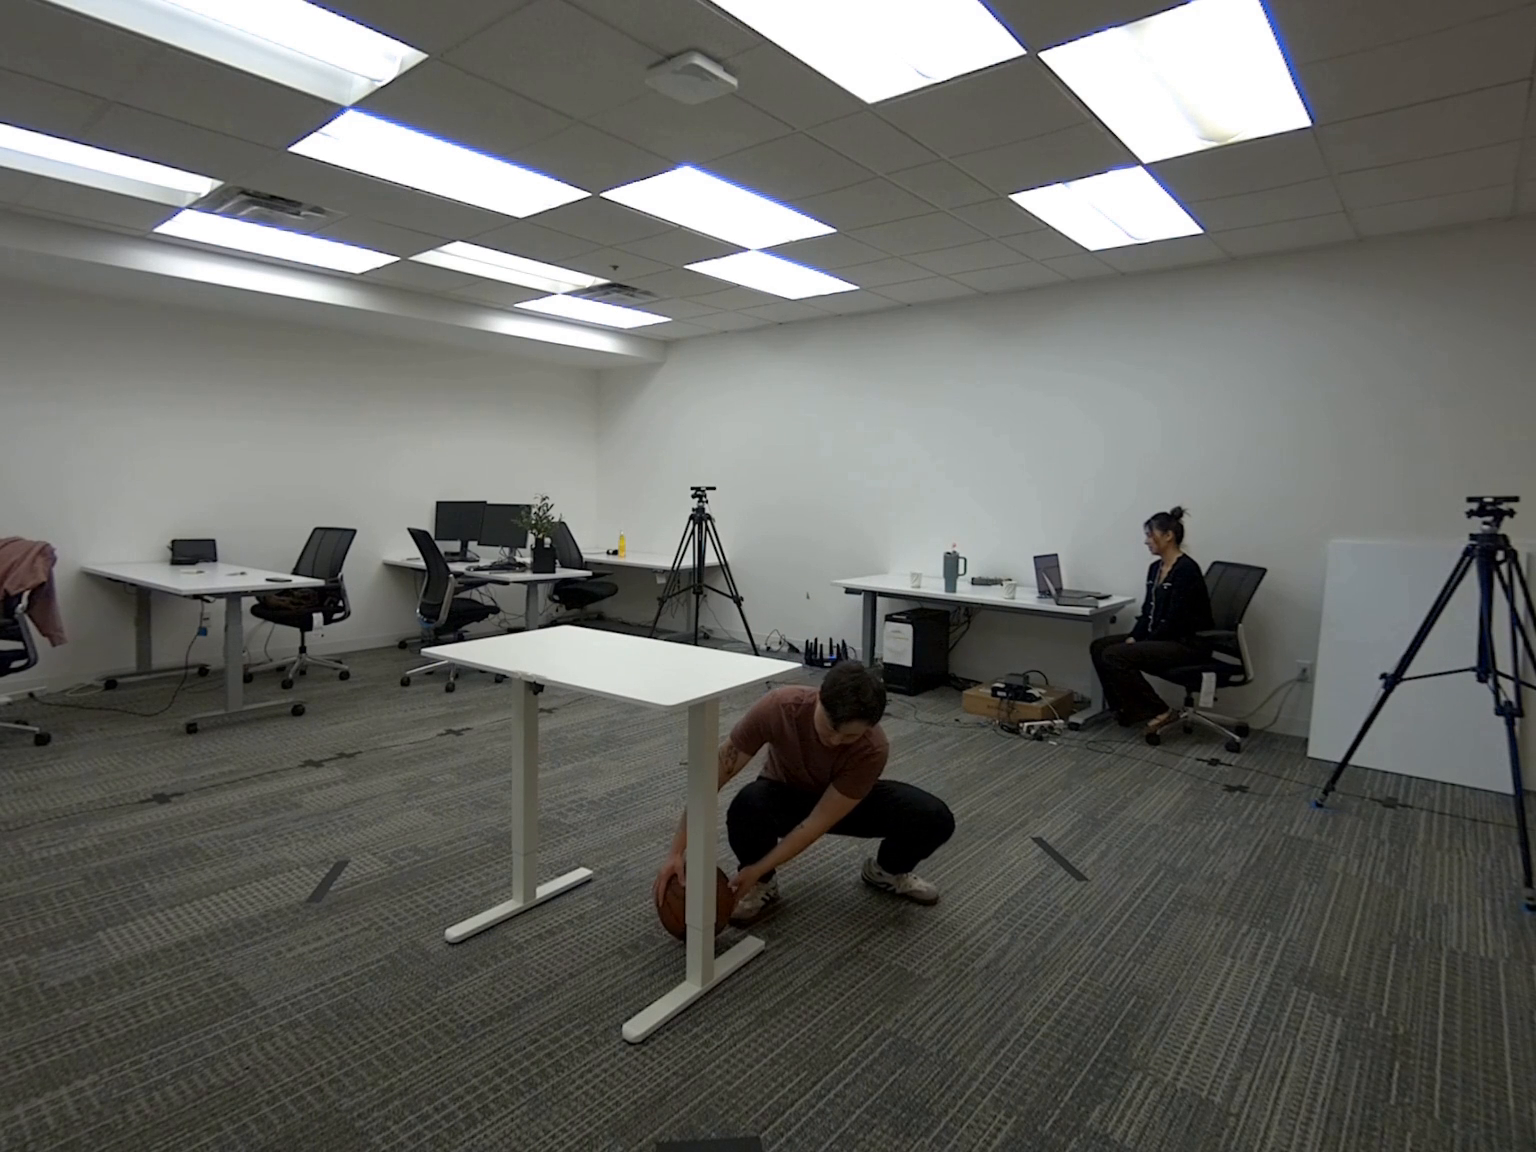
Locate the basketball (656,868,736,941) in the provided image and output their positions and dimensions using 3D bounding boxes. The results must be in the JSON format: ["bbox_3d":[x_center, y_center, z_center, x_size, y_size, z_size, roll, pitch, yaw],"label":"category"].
[{"bbox_3d":[-0.200,0.971,2.583,0.235,0.235,0.237,1,4,-2],"label":"basketball"}]
